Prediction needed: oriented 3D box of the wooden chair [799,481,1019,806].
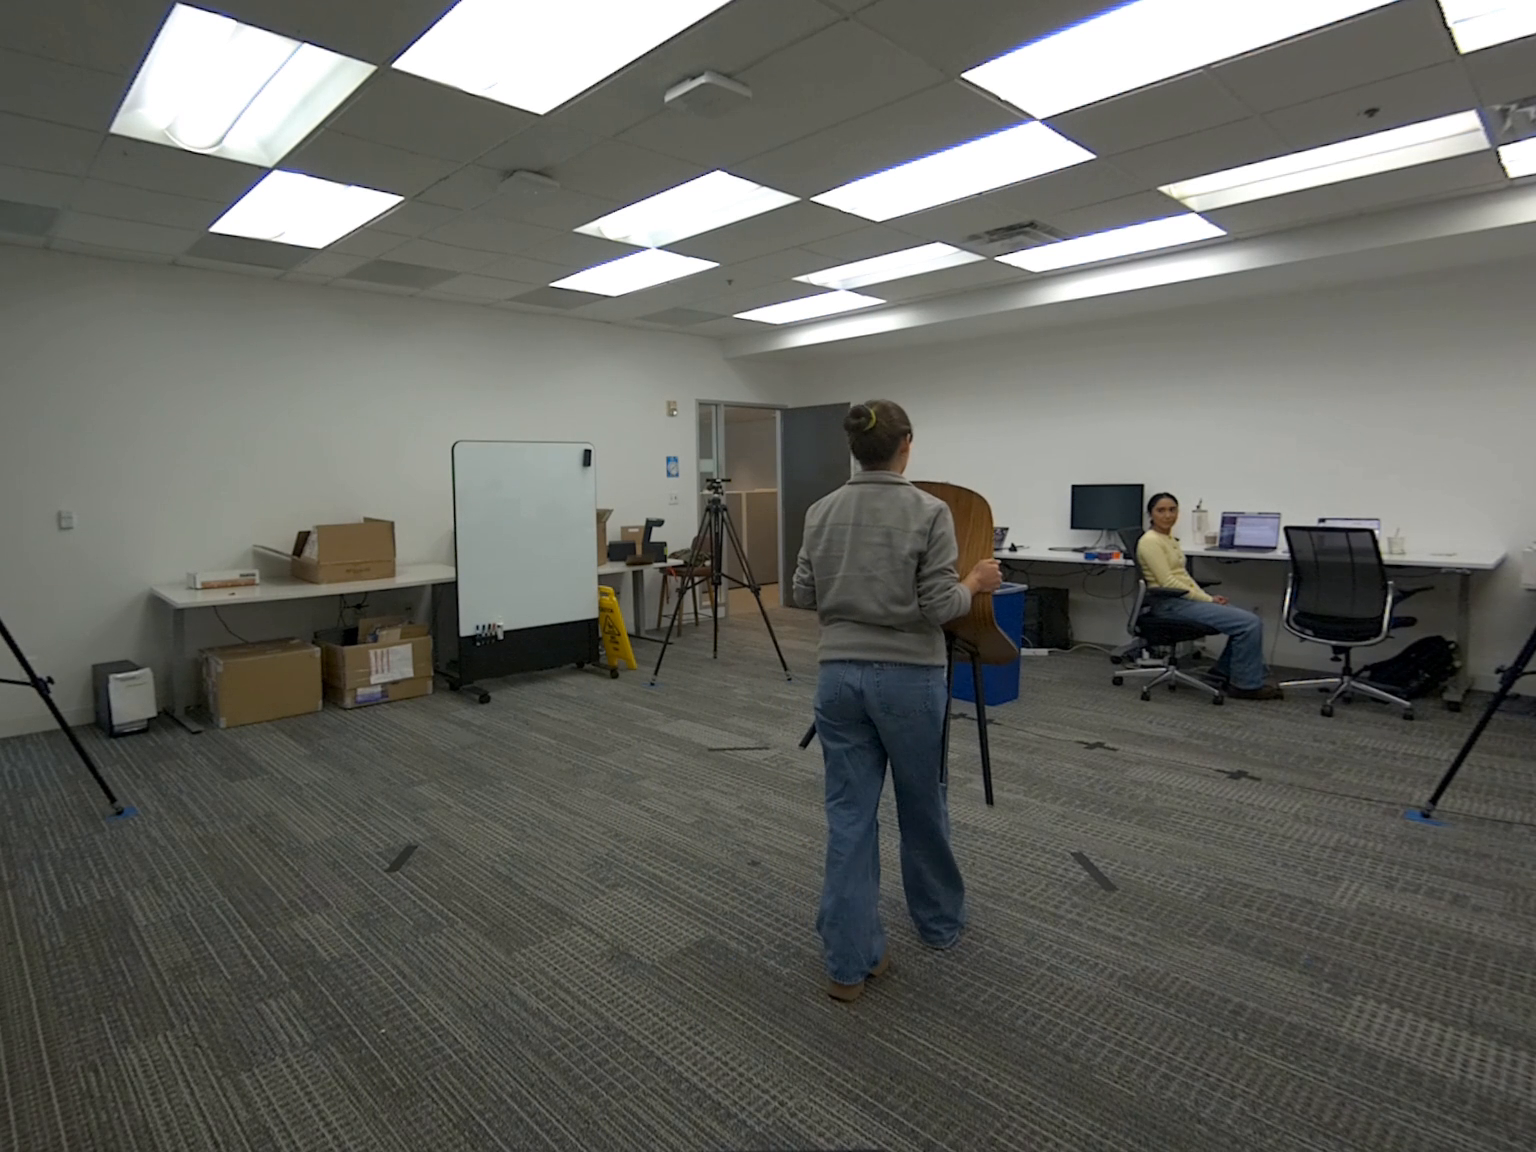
[{"bbox_3d":[0.505,0.202,2.666,0.492,0.884,0.504,4,-14,35],"label":"wooden chair"}]
